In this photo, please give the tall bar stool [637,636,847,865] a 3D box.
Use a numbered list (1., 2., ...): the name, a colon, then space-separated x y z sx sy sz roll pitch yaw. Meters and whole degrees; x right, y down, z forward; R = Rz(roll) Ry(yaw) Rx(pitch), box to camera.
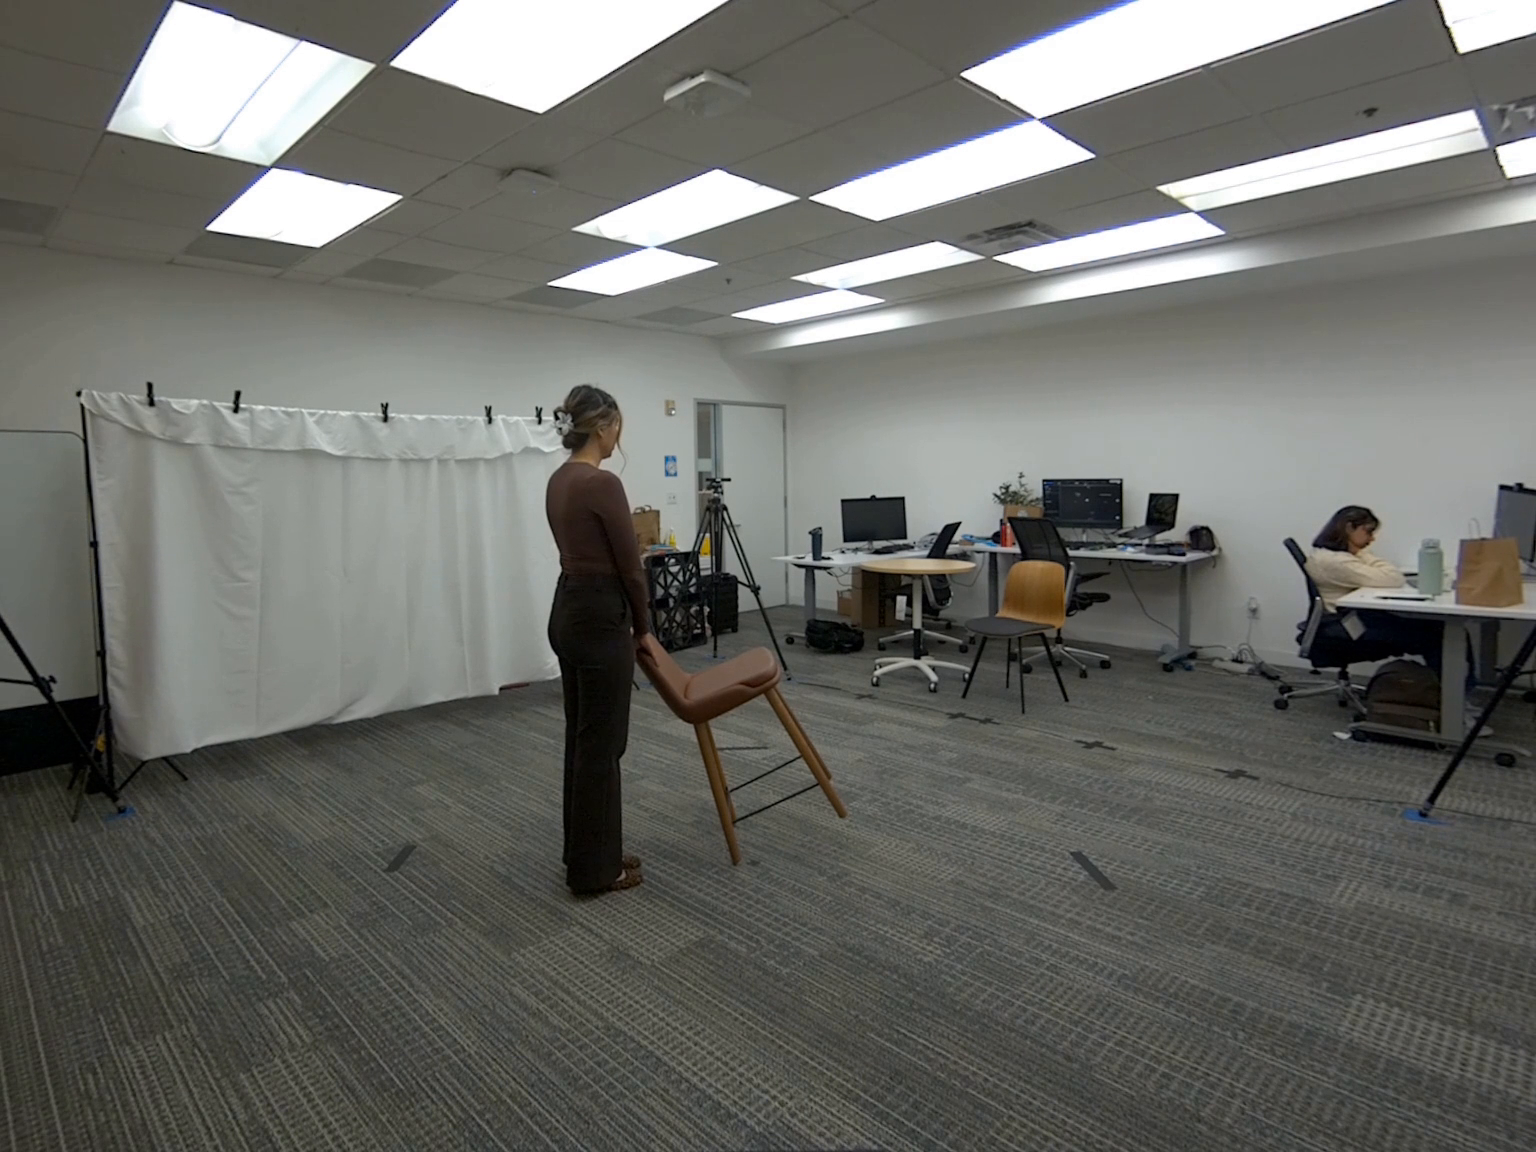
1. tall bar stool: -0.122 0.544 3.246 0.468 0.885 0.459 -27 4 0
